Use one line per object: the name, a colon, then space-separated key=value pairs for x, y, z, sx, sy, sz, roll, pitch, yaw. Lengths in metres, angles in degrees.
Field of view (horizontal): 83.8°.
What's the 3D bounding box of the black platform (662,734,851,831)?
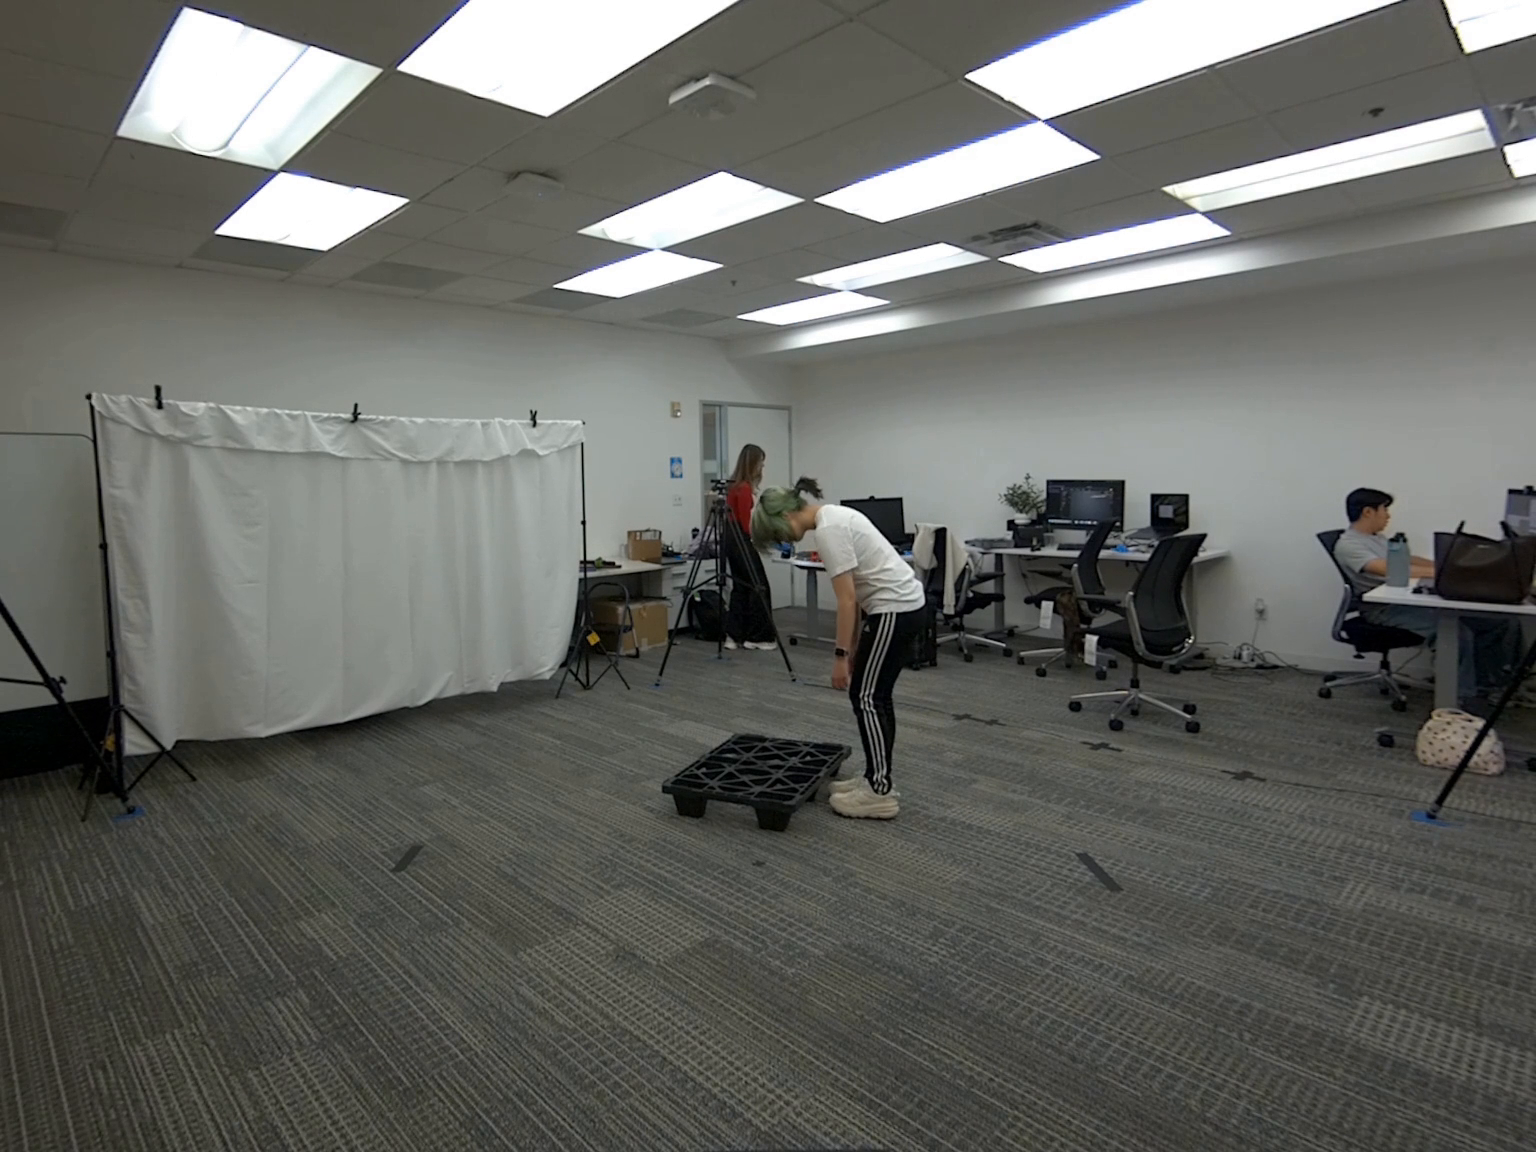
black platform: x=-0.025 y=0.900 z=3.802 sx=0.618 sy=0.143 sz=0.792 roll=1 pitch=6 yaw=23
